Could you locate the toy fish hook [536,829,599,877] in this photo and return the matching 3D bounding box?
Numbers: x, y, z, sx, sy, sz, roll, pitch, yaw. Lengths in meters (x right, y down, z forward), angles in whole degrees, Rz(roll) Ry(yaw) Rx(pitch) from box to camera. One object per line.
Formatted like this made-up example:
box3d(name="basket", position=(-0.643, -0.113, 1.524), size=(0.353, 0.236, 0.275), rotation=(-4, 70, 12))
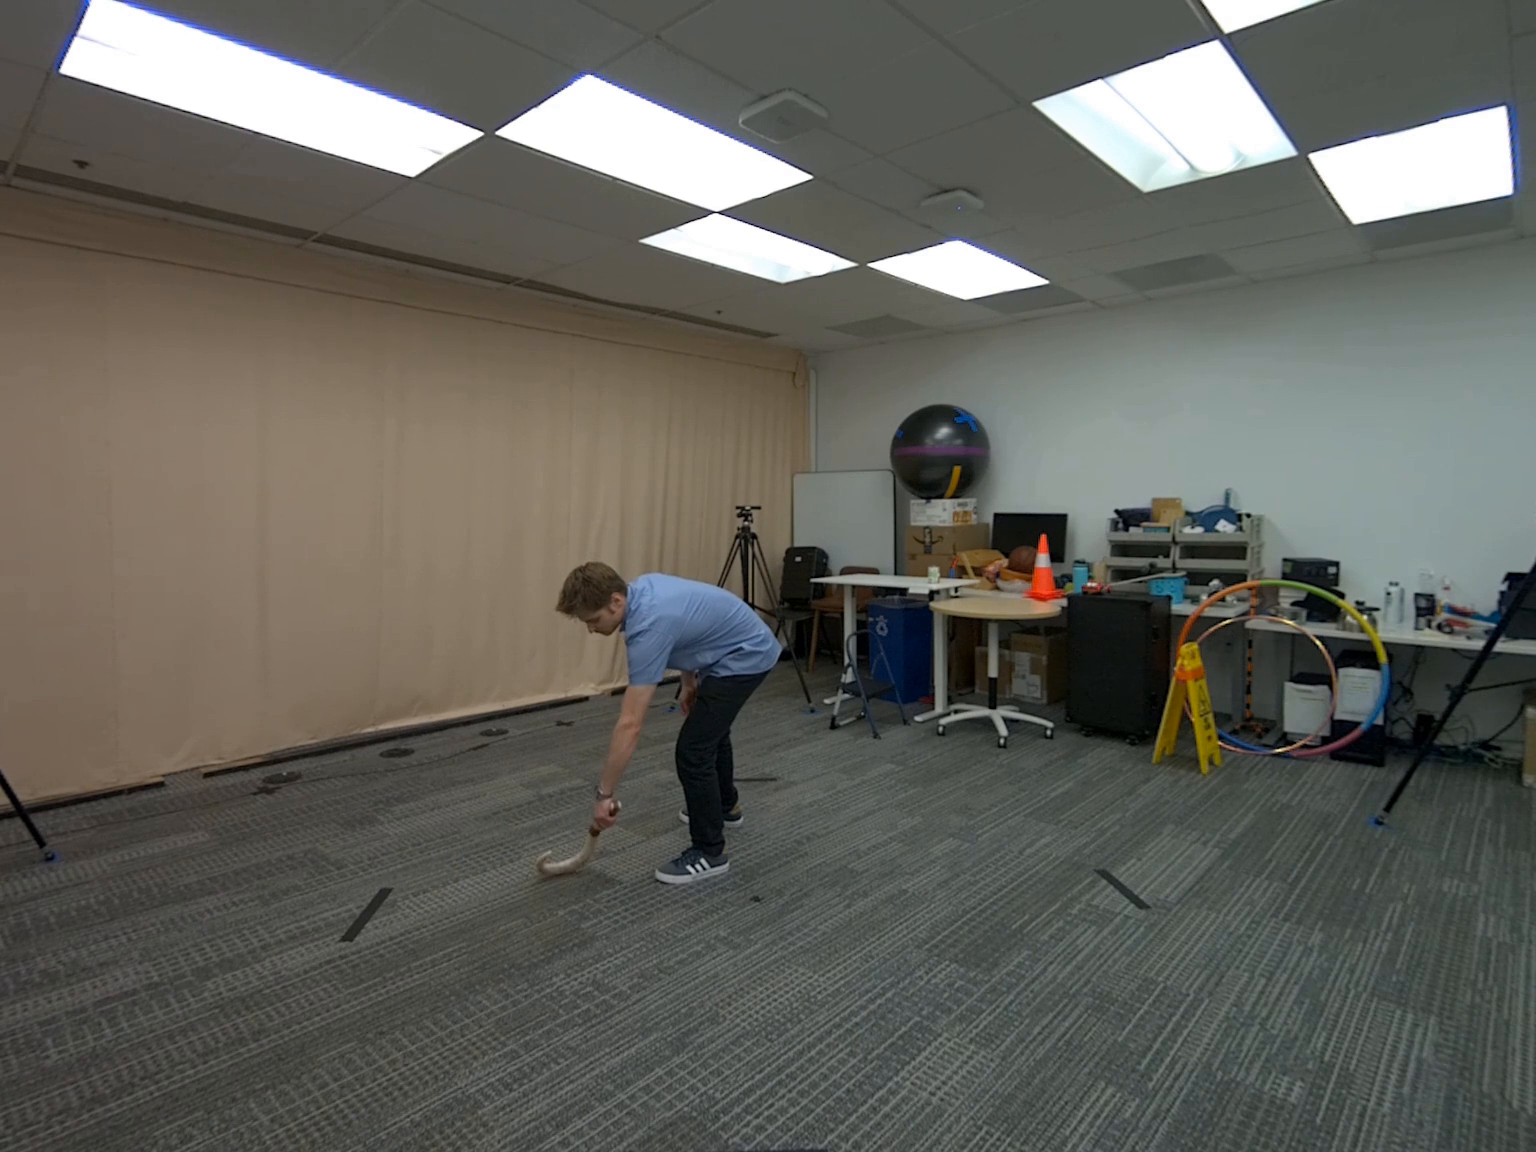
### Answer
box3d(name="toy fish hook", position=(-0.687, 0.962, 3.051), size=(0.217, 0.507, 0.050), rotation=(3, 44, -39))
